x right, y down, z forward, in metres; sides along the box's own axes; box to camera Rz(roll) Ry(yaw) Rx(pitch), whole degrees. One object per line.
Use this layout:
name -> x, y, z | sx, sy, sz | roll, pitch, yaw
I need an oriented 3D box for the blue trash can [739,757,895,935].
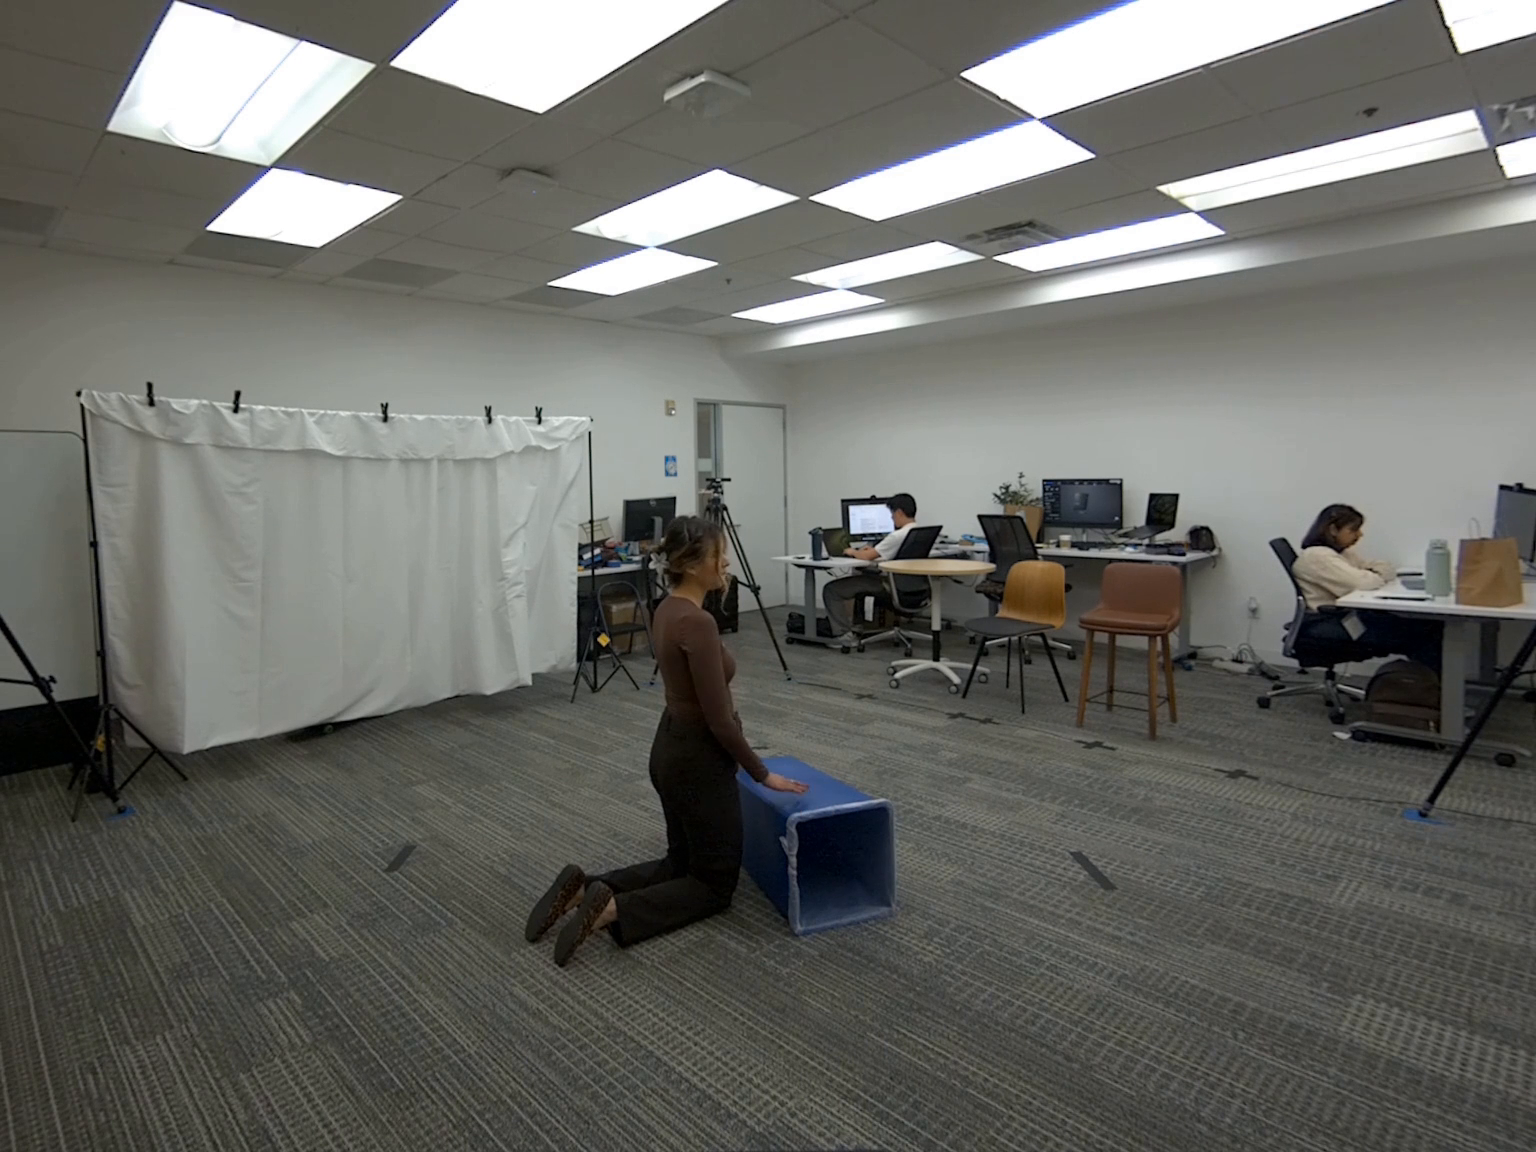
blue trash can -> 0.104, 0.878, 2.989 | 0.367, 0.377, 0.729 | -4, 5, -21
